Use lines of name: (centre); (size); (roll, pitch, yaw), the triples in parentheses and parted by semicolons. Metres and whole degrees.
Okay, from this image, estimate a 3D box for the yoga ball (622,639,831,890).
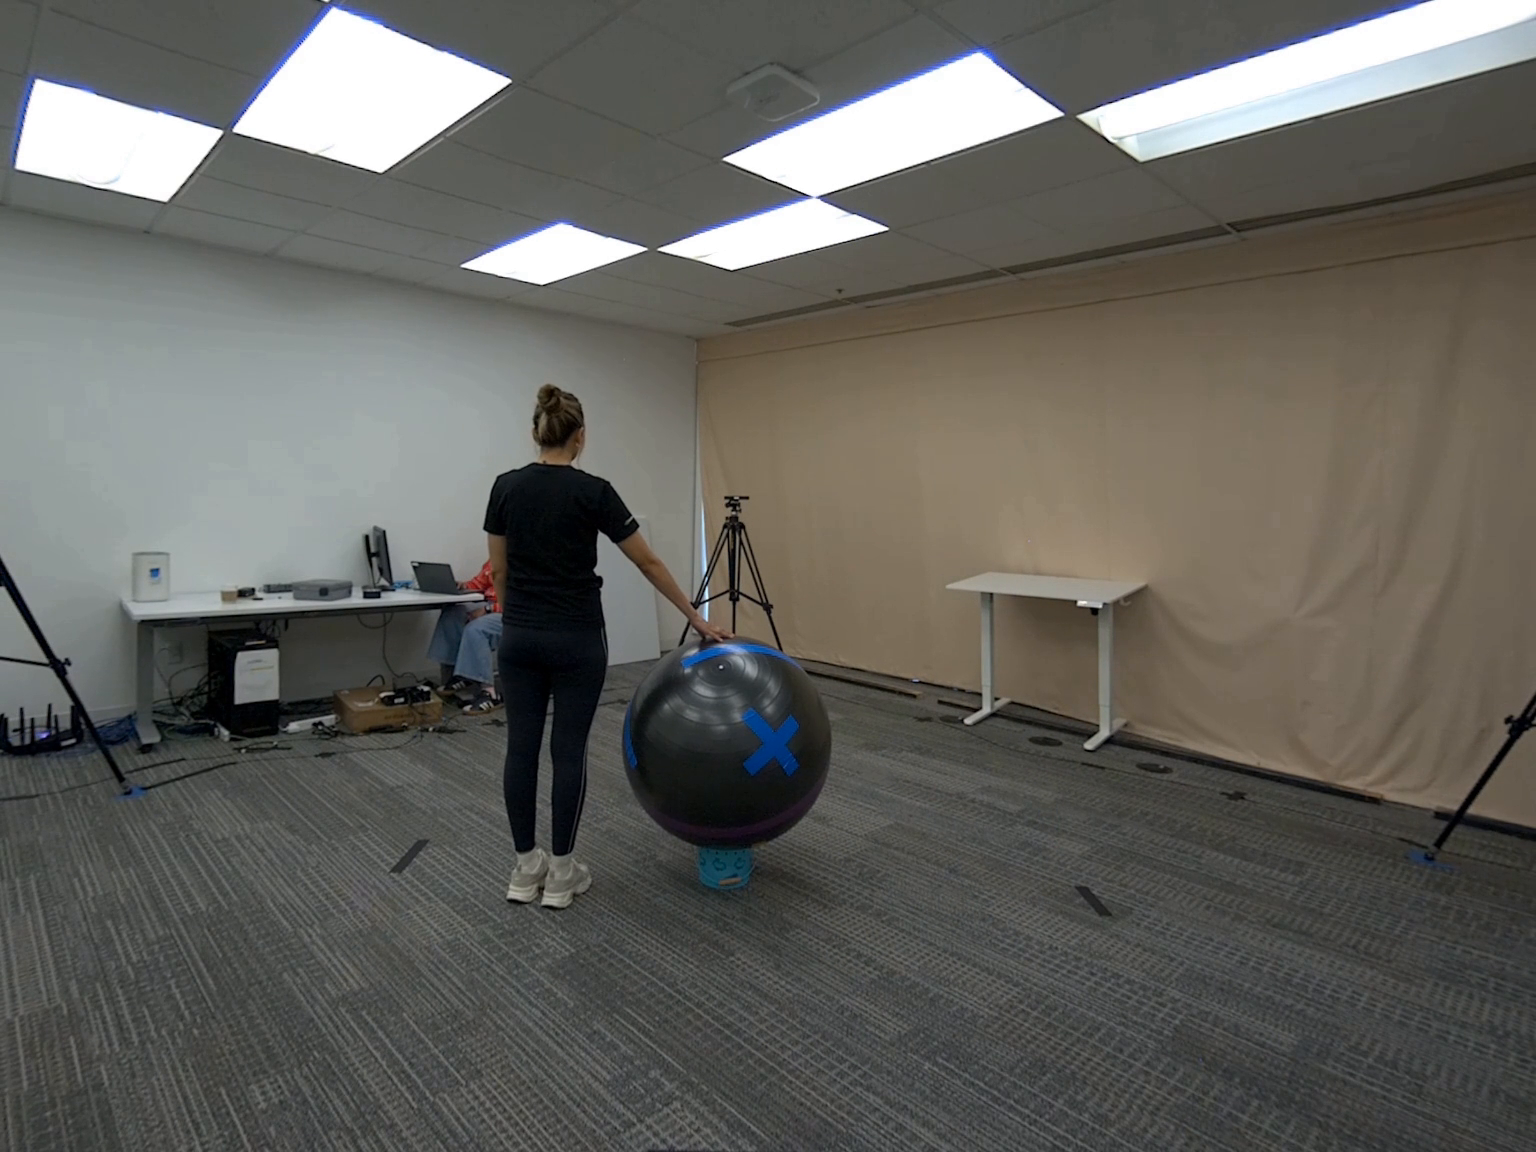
yoga ball: (-0.155, 0.599, 3.050); (0.757, 0.756, 0.761); (1, 4, -1)
